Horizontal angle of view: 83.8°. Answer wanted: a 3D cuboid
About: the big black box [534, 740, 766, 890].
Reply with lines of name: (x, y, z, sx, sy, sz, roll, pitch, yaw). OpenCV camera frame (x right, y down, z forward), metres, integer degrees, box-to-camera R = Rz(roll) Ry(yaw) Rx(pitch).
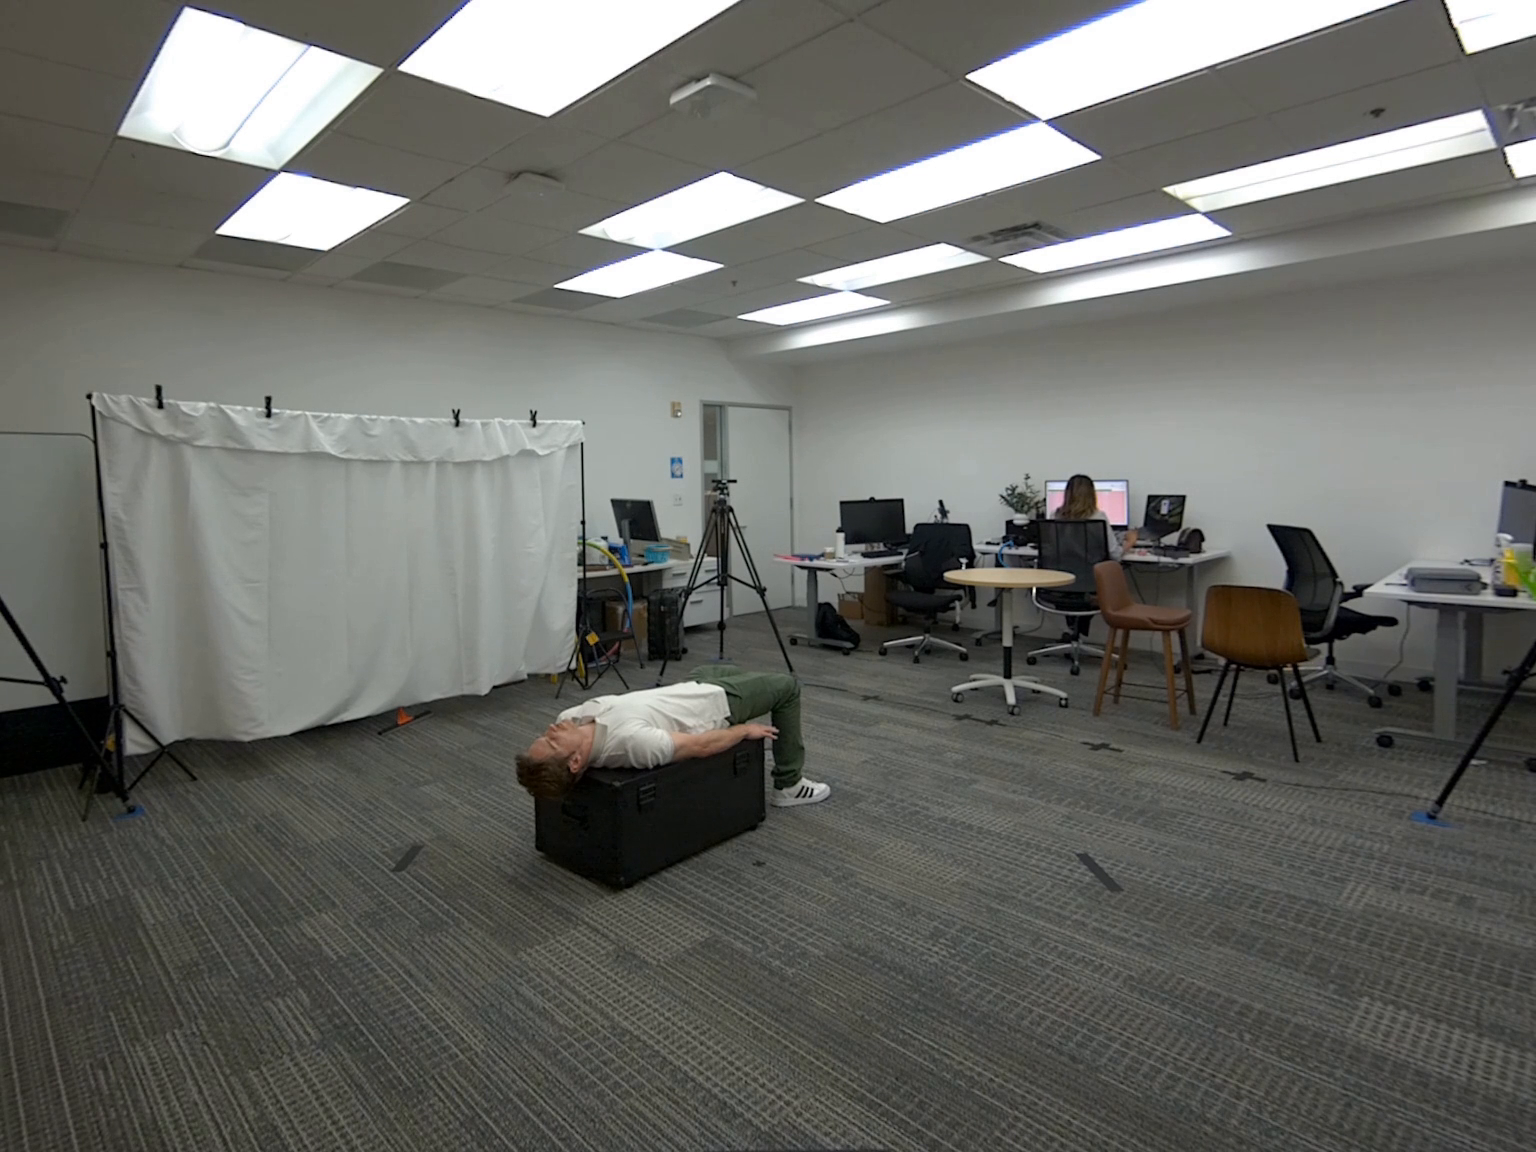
big black box: (-0.415, 0.841, 3.345, 0.539, 0.384, 0.846, 3, 6, 42)
